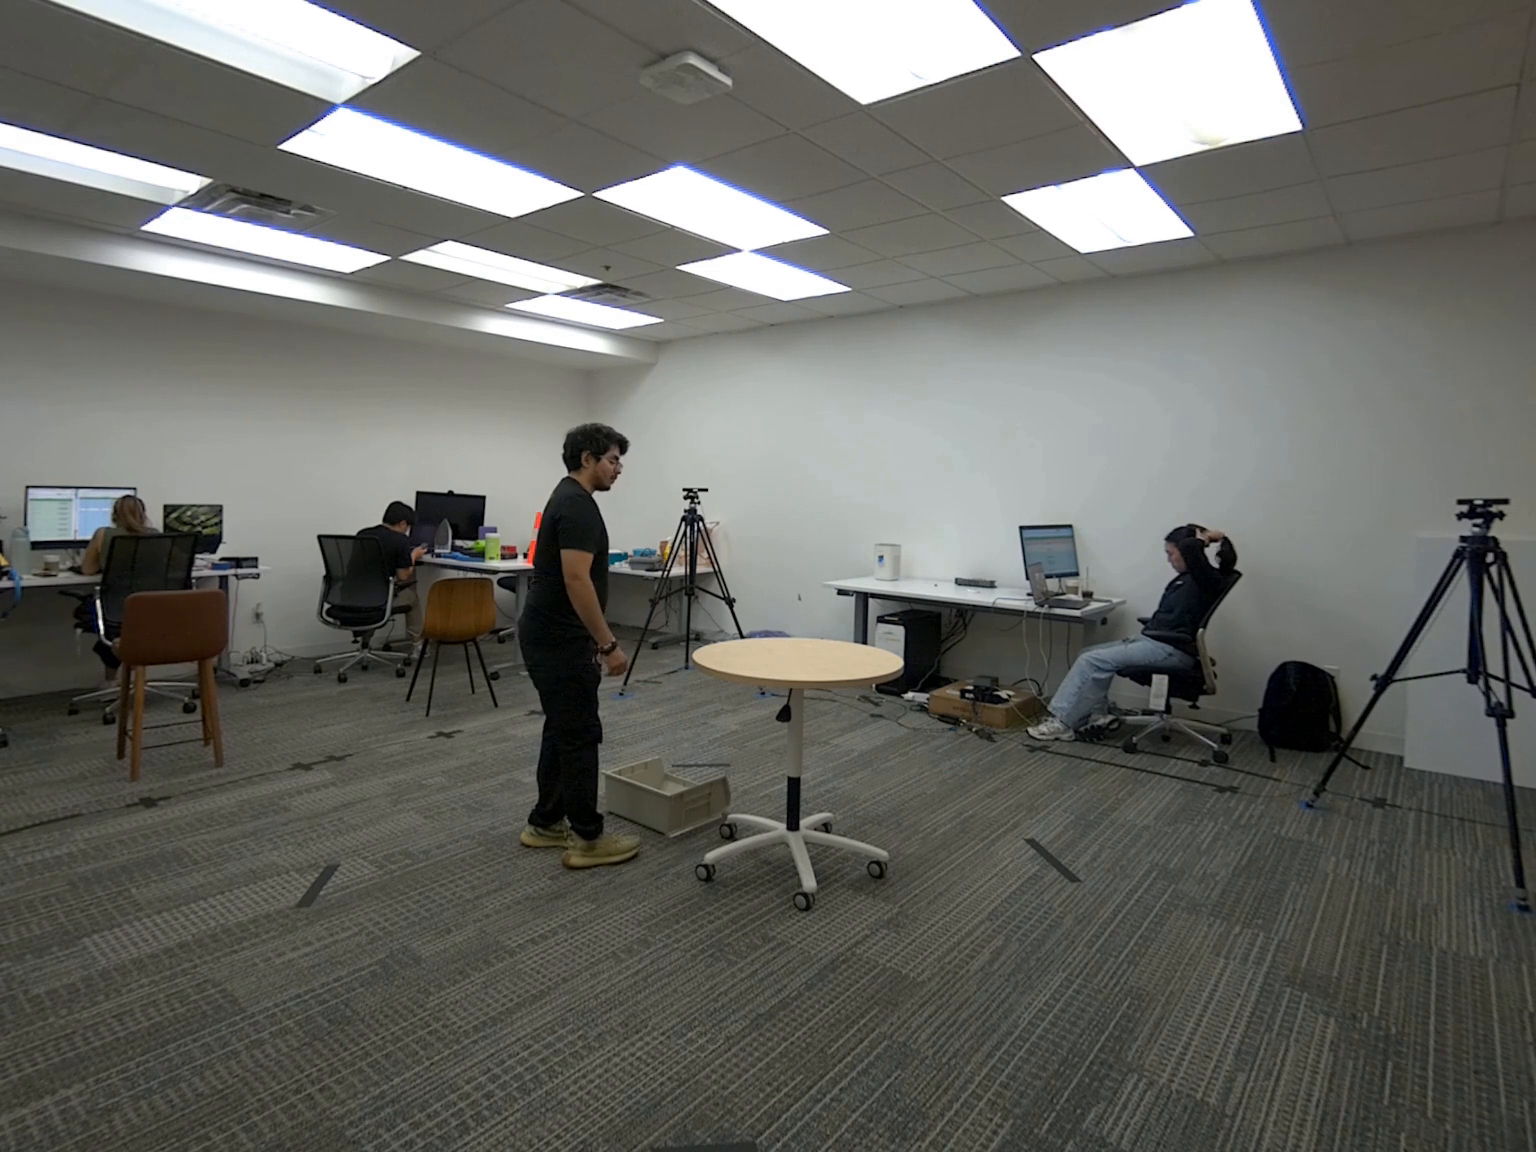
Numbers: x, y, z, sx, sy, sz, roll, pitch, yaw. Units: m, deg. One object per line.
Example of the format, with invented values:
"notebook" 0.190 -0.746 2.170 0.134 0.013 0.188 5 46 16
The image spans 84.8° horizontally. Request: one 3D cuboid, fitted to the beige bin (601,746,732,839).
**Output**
"beige bin" -0.442 0.919 3.639 0.437 0.188 0.366 6 8 40
